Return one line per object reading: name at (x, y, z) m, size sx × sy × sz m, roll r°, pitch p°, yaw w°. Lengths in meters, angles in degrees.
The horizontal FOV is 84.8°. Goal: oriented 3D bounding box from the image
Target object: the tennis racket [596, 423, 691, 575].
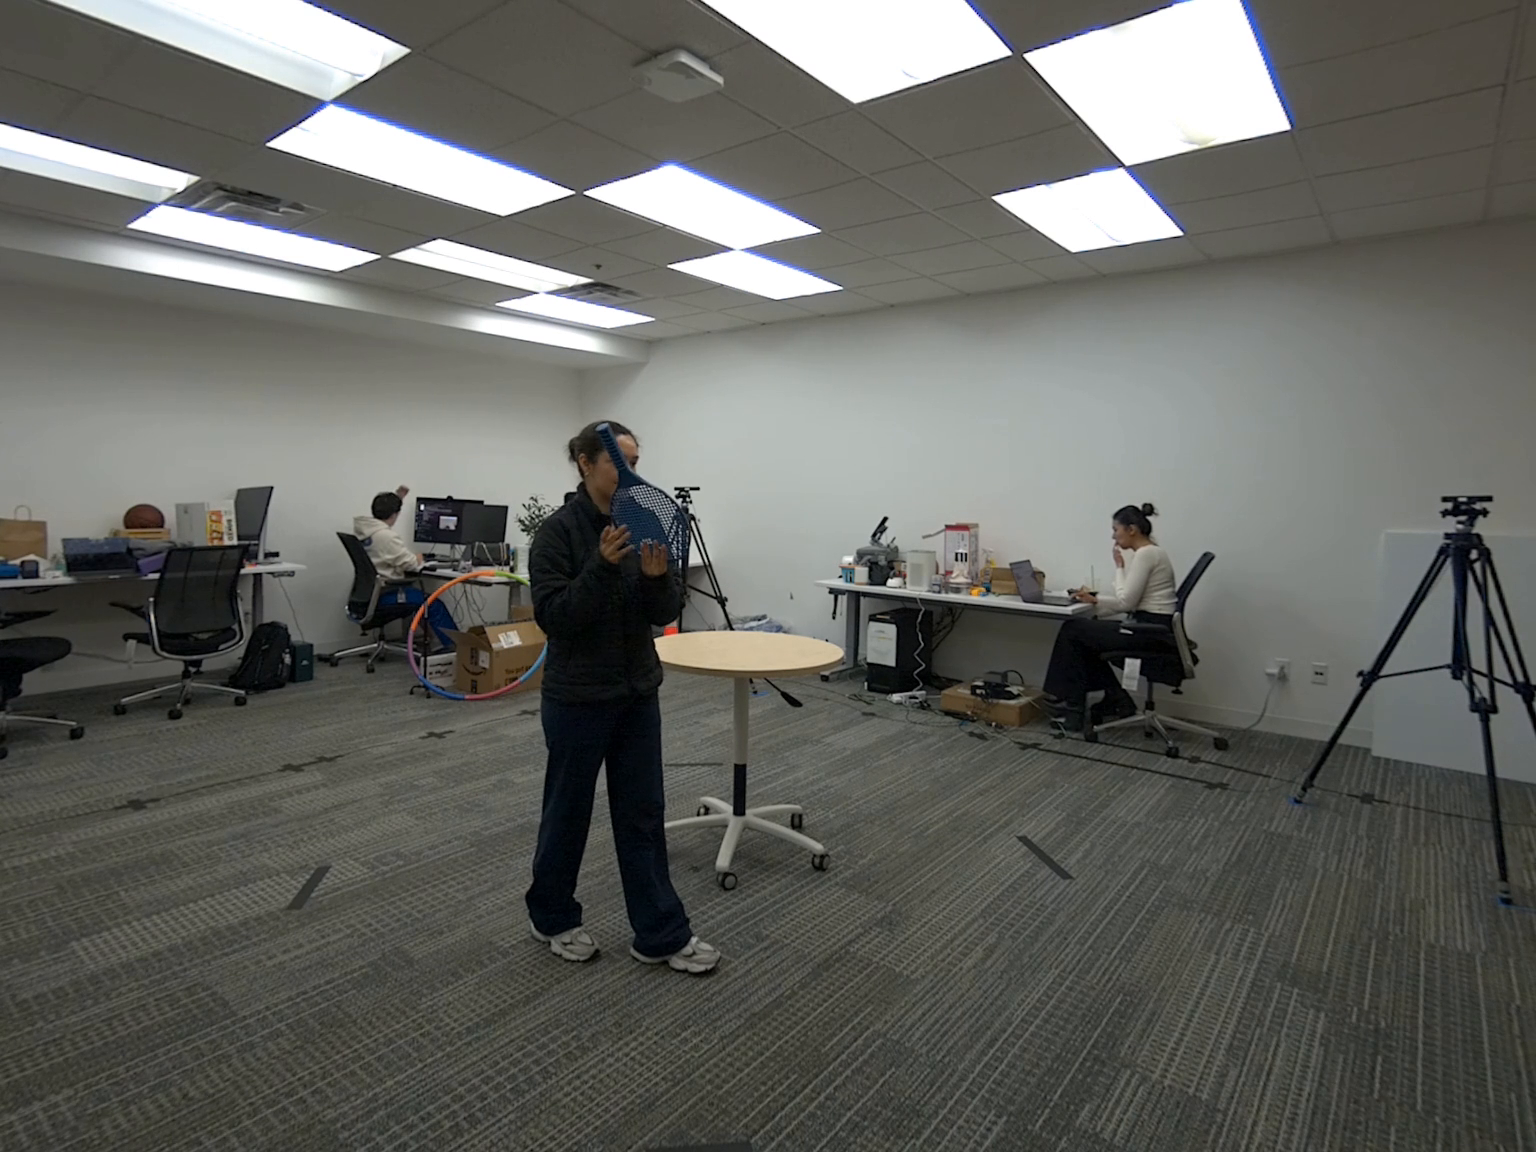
tennis racket at (-0.336, -0.196, 2.187) m, size 0.218 × 0.420 × 0.032 m, roll -3°, pitch 31°, yaw 21°
